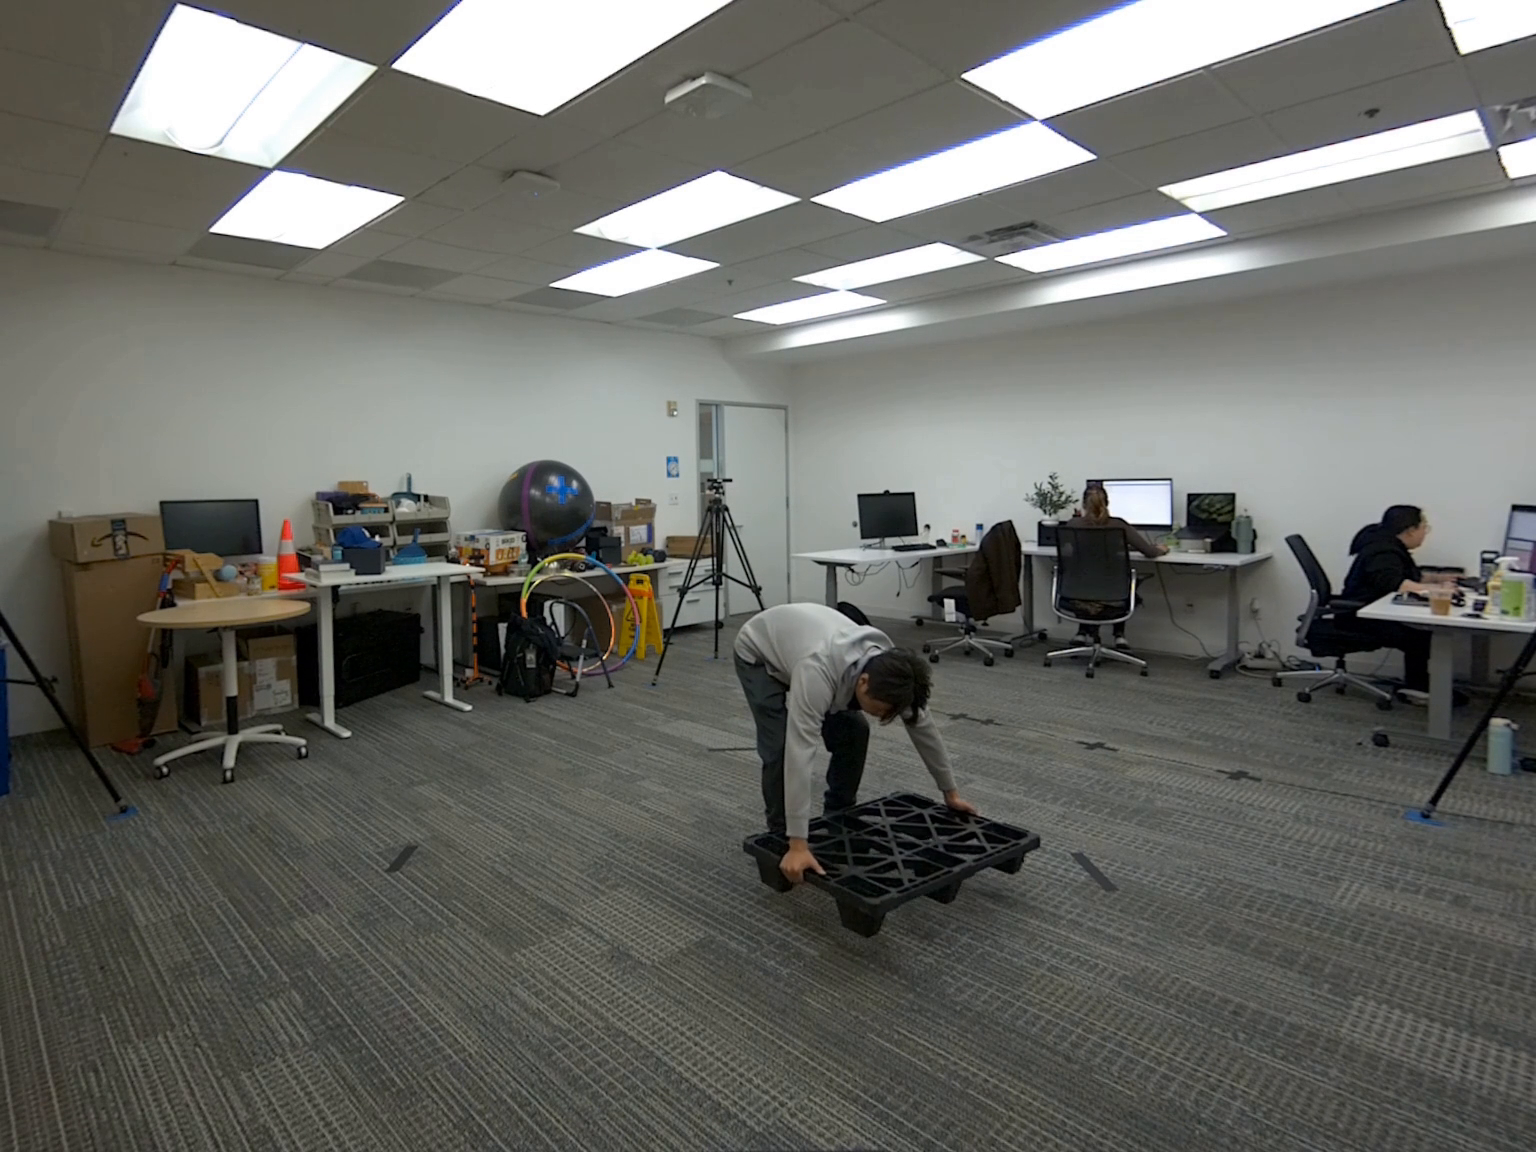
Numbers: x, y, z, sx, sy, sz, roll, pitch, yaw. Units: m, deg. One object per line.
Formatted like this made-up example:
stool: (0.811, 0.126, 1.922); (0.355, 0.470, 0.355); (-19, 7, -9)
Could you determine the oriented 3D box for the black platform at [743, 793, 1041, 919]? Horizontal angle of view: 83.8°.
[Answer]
black platform: (0.409, 0.928, 2.809); (0.784, 0.143, 0.623); (-4, 5, -37)
